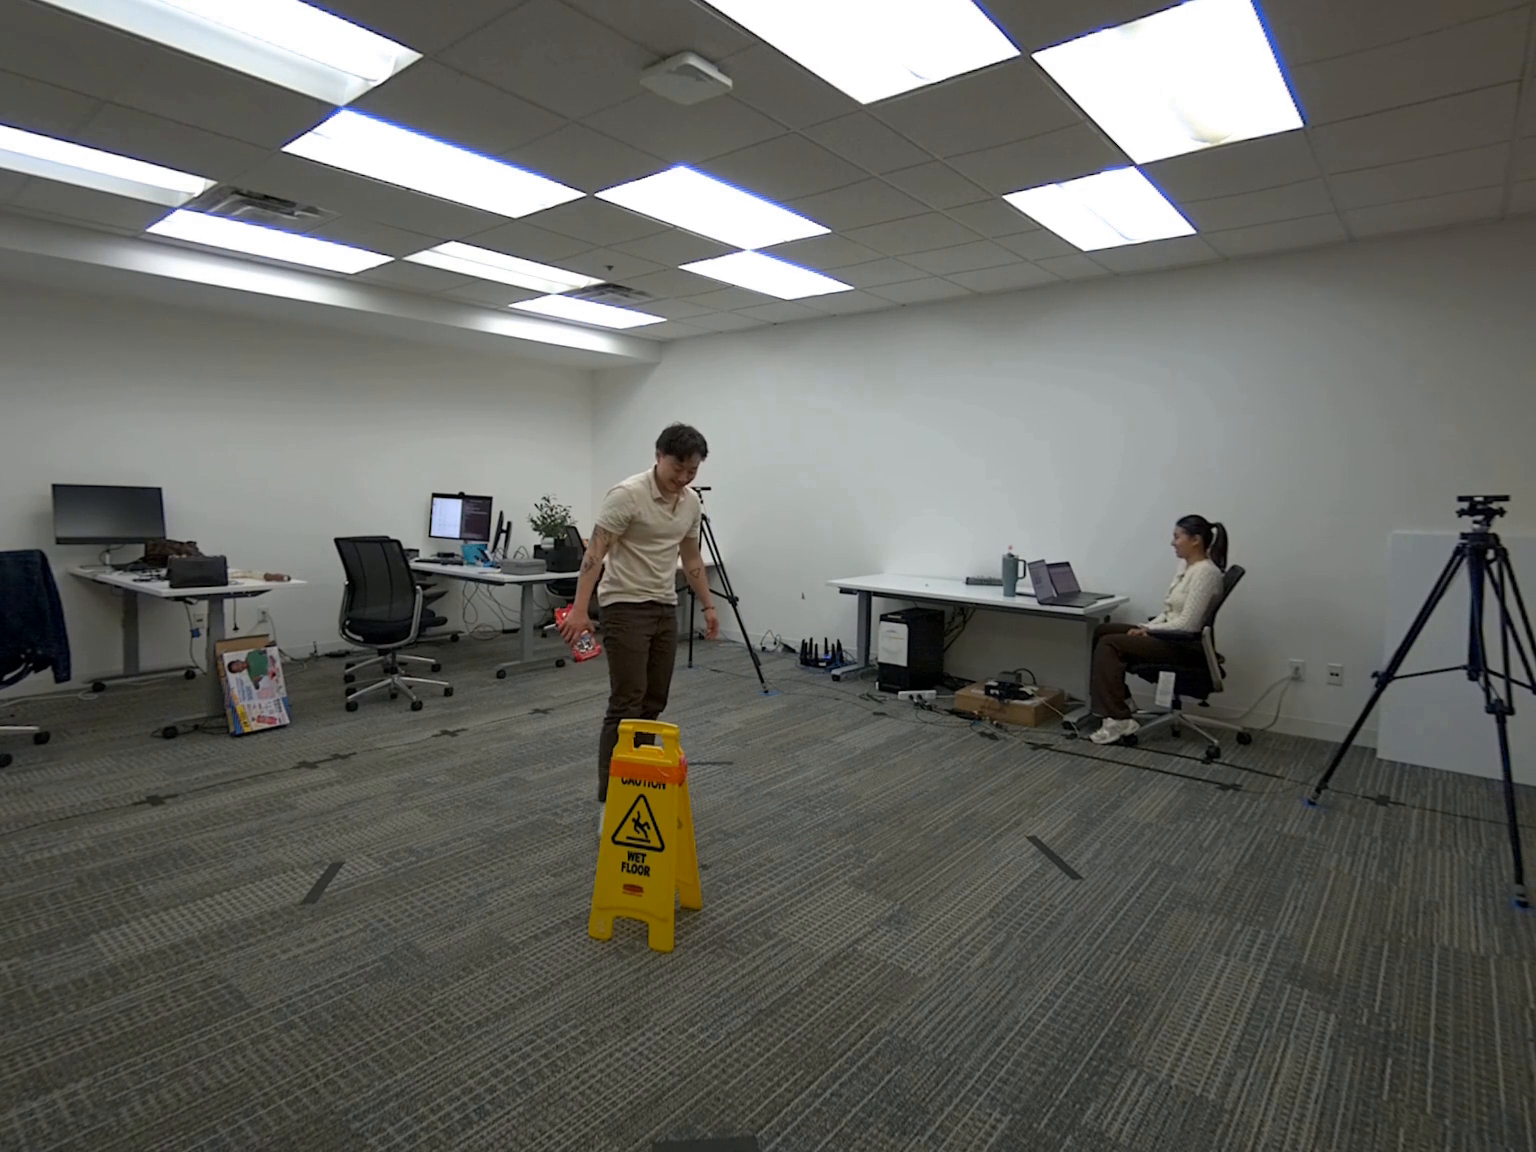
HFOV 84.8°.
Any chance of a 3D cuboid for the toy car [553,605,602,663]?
[{"bbox_3d":[-0.775,0.226,3.369,0.128,0.261,0.082,-17,-21,-25],"label":"toy car"}]
